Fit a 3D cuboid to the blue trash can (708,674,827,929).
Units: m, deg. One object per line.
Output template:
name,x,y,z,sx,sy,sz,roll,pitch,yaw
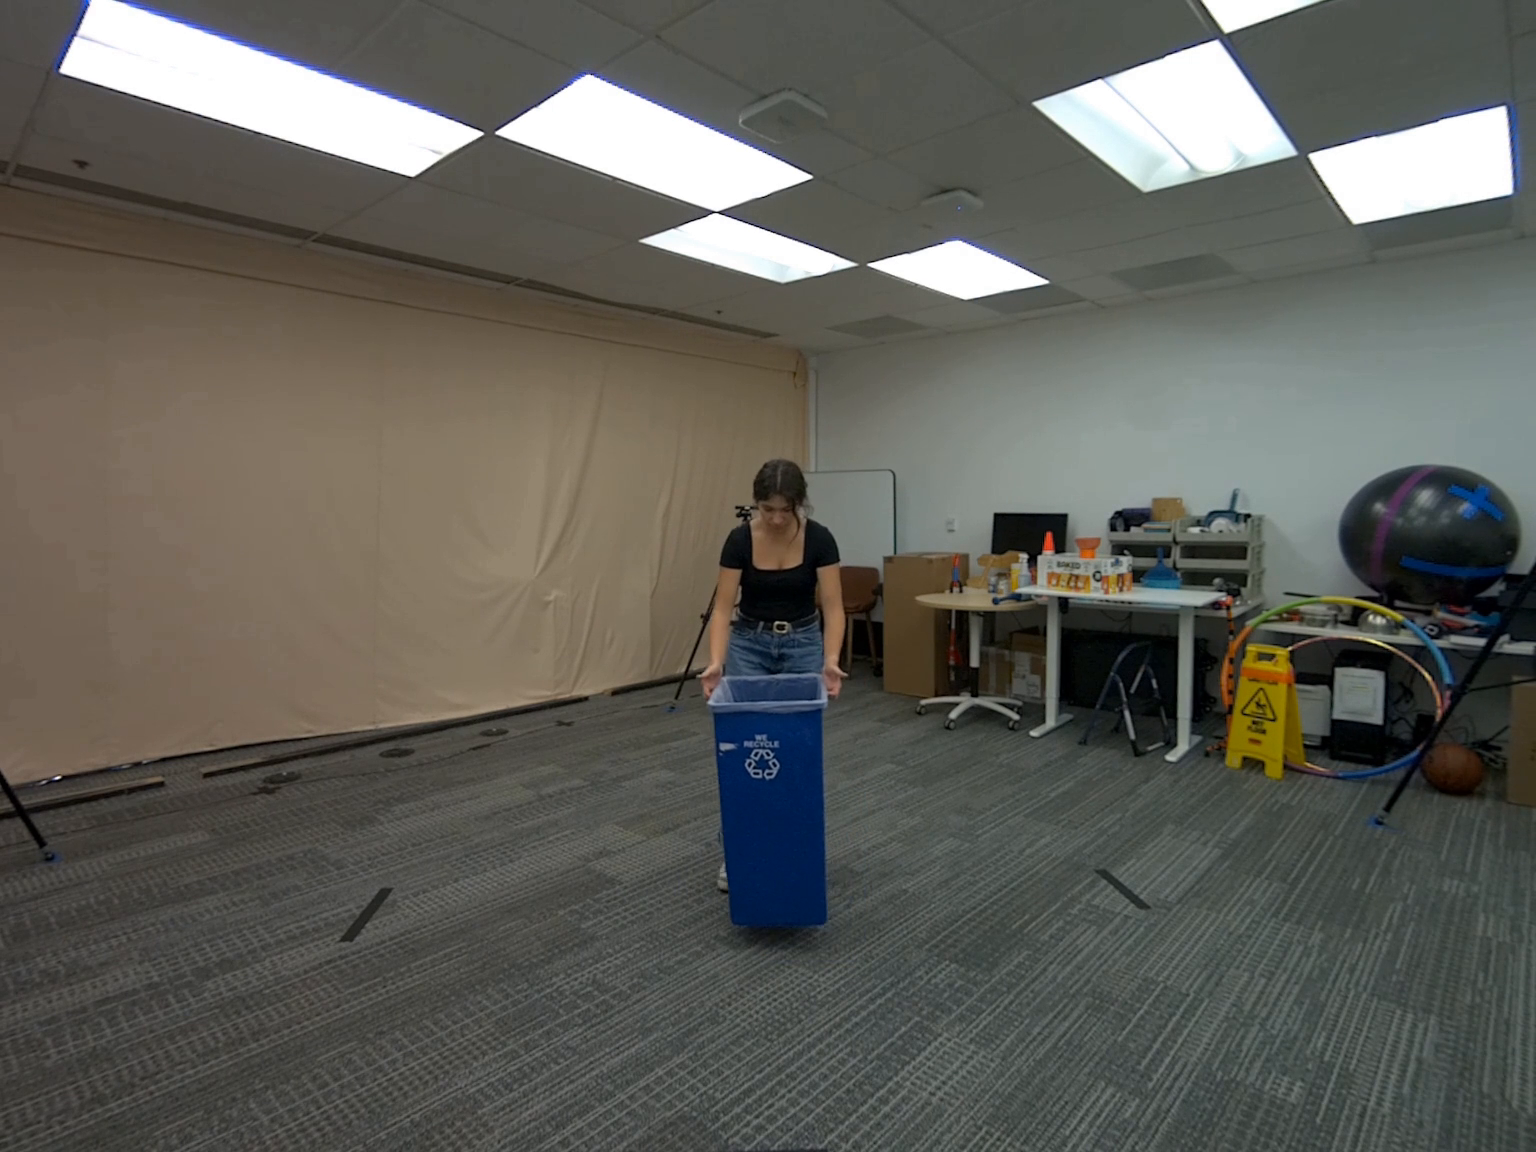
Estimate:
blue trash can,0.028,0.719,2.744,0.376,0.711,0.377,-3,4,5
